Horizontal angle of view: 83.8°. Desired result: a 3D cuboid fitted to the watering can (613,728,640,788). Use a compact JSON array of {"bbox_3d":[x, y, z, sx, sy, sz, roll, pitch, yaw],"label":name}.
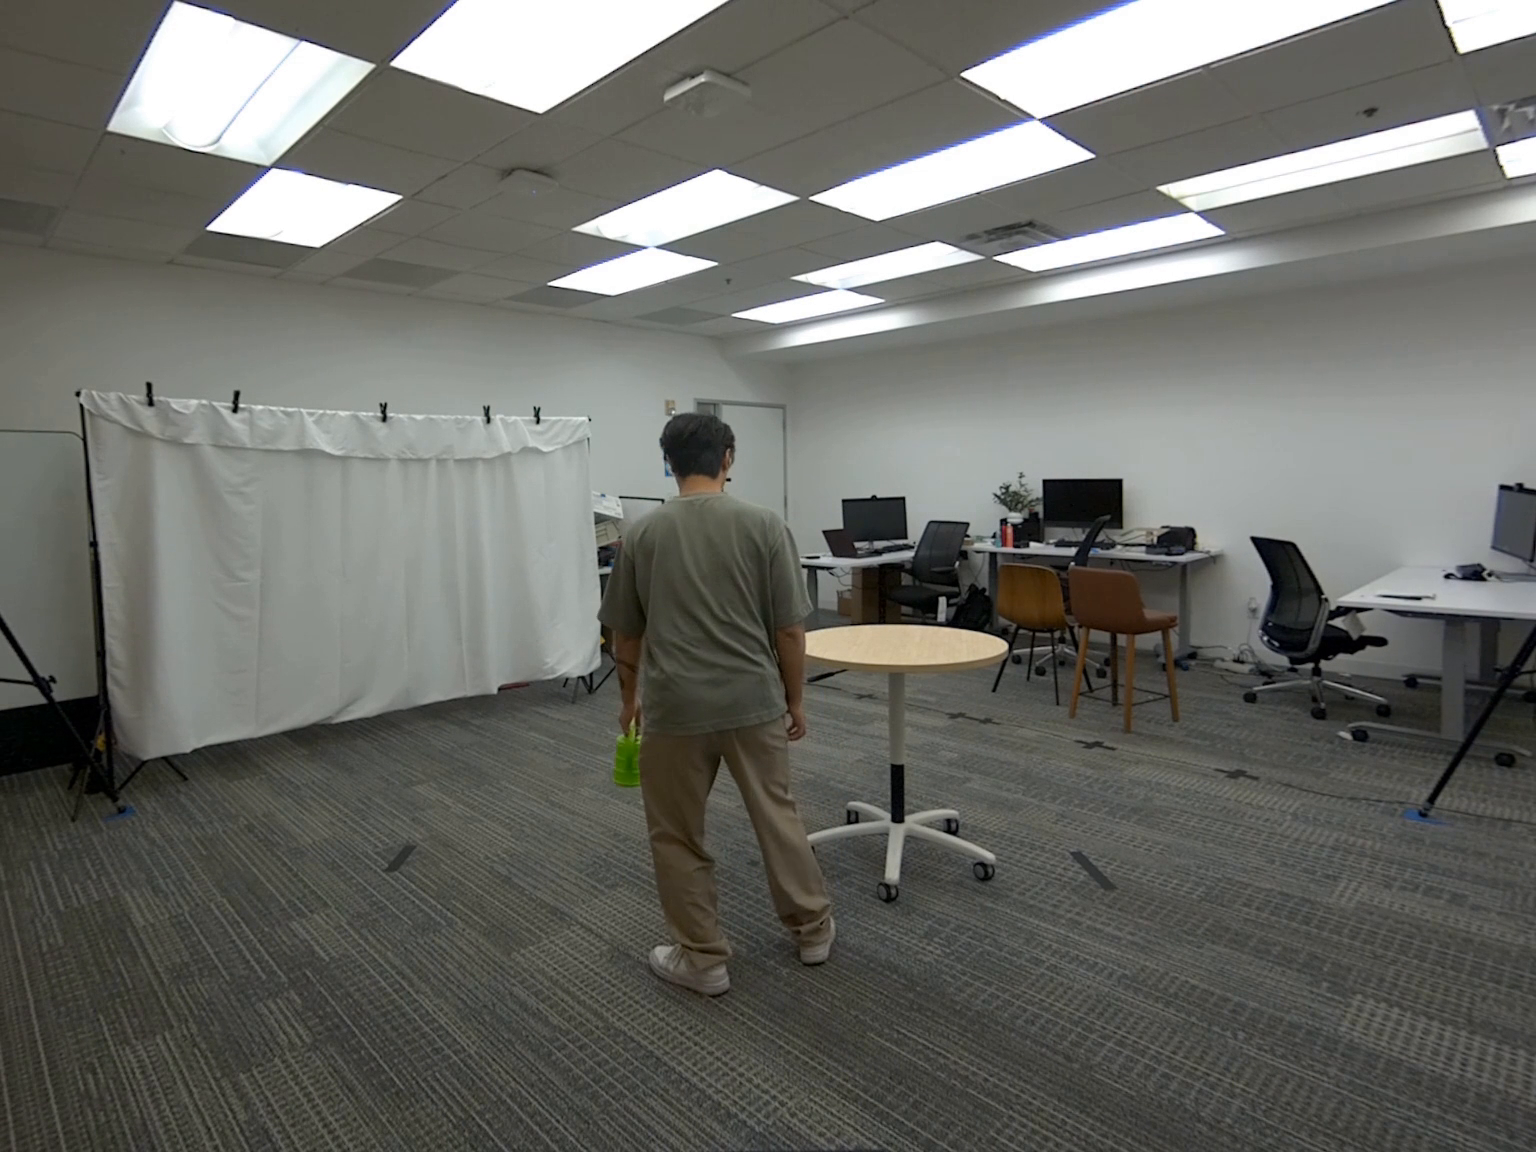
[{"bbox_3d":[-0.408,0.544,2.660,0.098,0.177,0.277,4,1,3],"label":"watering can"}]
